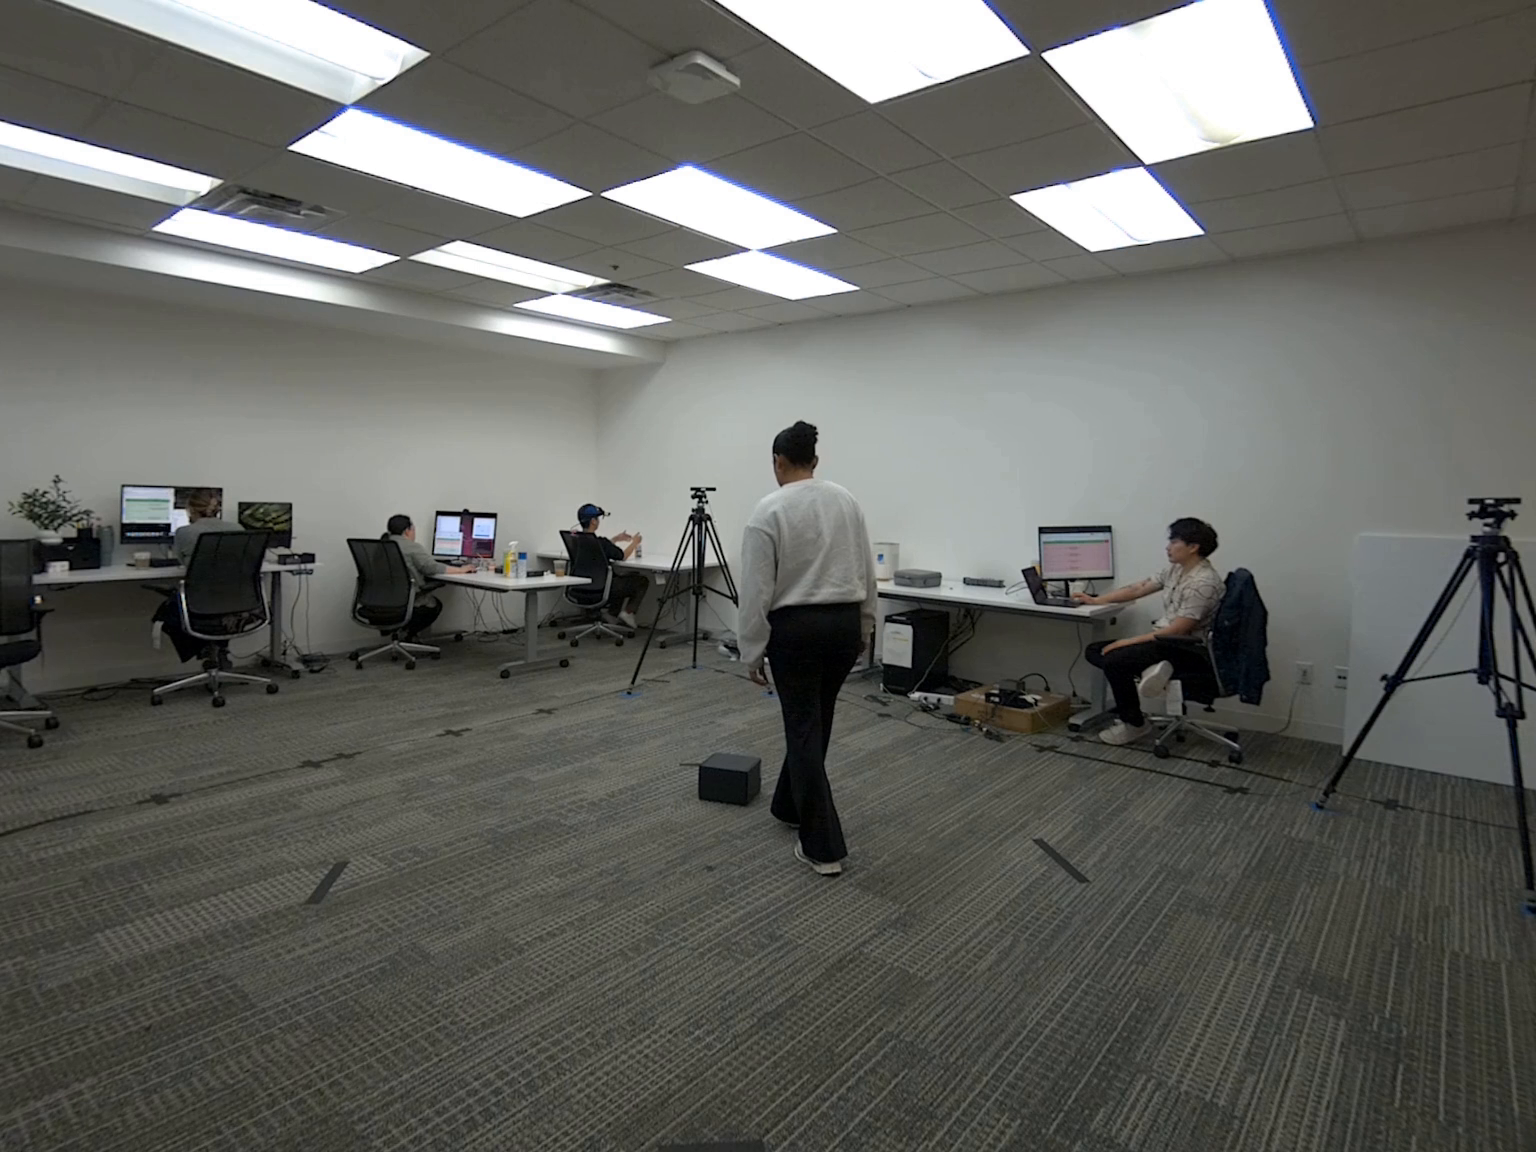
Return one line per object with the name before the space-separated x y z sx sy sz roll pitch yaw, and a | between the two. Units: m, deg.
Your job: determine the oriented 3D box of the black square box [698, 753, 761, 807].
black square box | -0.175 0.910 3.856 0.232 0.155 0.213 3 5 18
